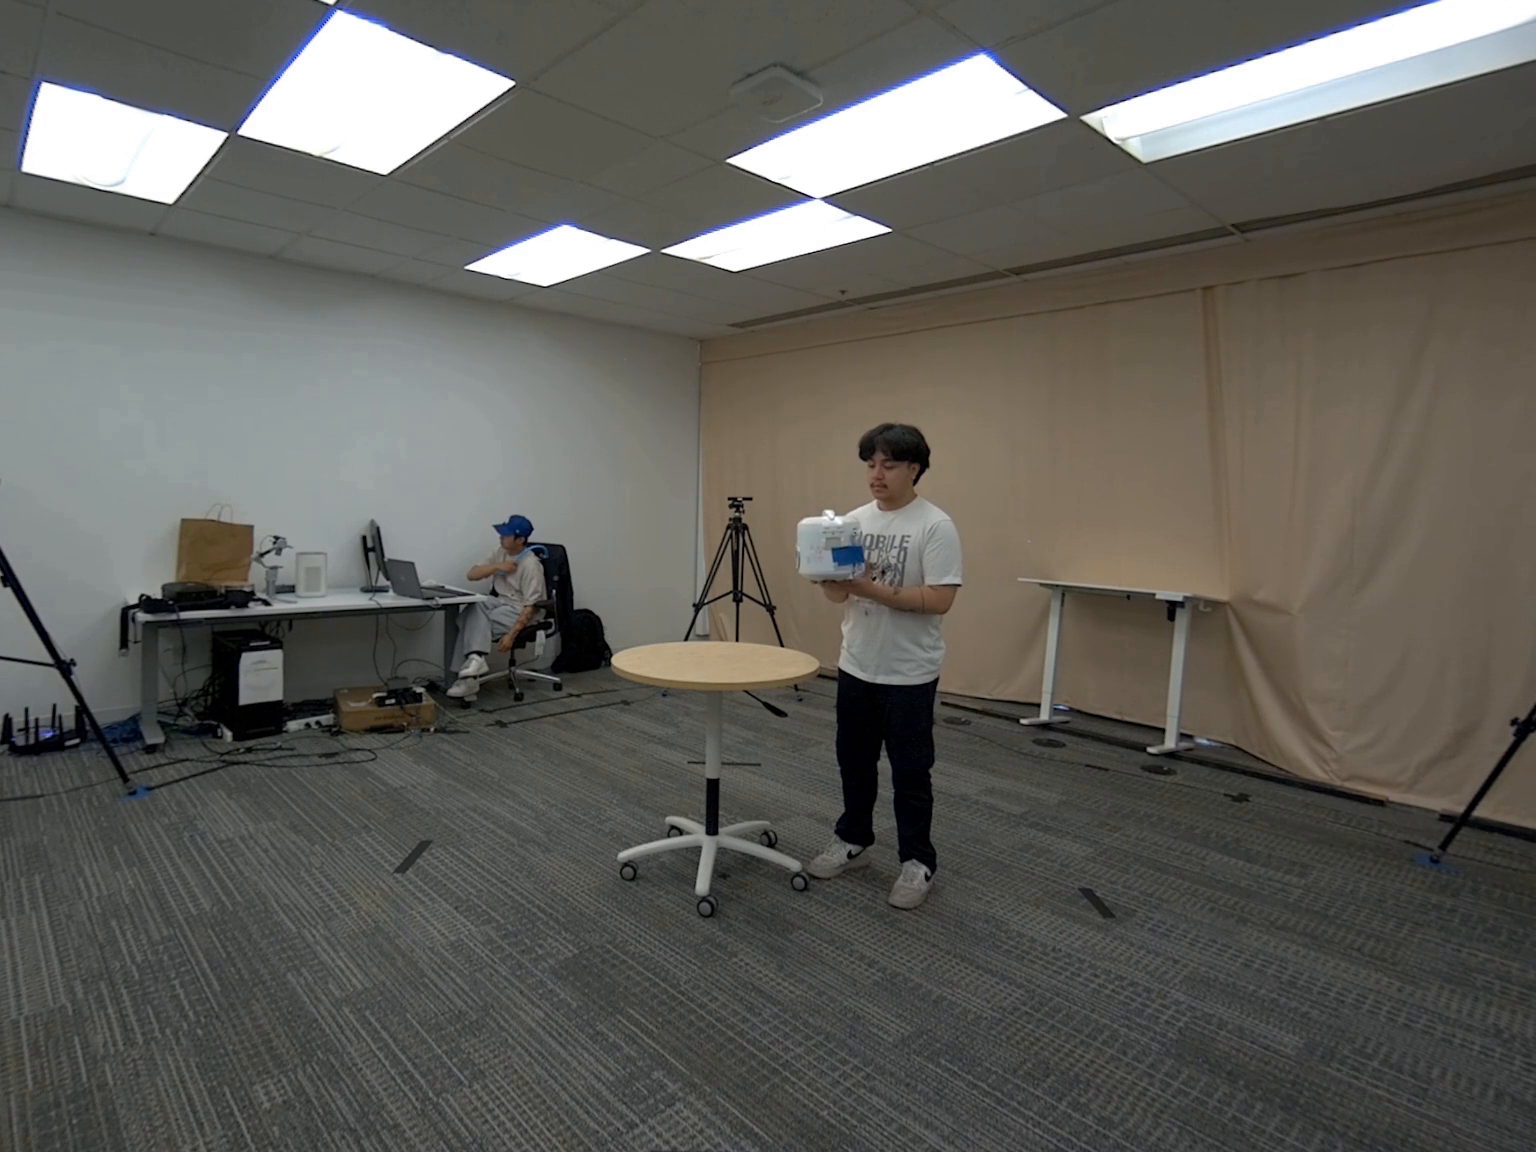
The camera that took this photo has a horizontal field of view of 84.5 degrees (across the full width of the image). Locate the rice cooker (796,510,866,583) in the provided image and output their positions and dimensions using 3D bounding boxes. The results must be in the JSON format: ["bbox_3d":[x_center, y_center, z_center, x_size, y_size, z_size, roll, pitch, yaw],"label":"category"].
[{"bbox_3d":[0.202,-0.103,2.791,0.217,0.232,0.221,-1,2,-1],"label":"rice cooker"}]
